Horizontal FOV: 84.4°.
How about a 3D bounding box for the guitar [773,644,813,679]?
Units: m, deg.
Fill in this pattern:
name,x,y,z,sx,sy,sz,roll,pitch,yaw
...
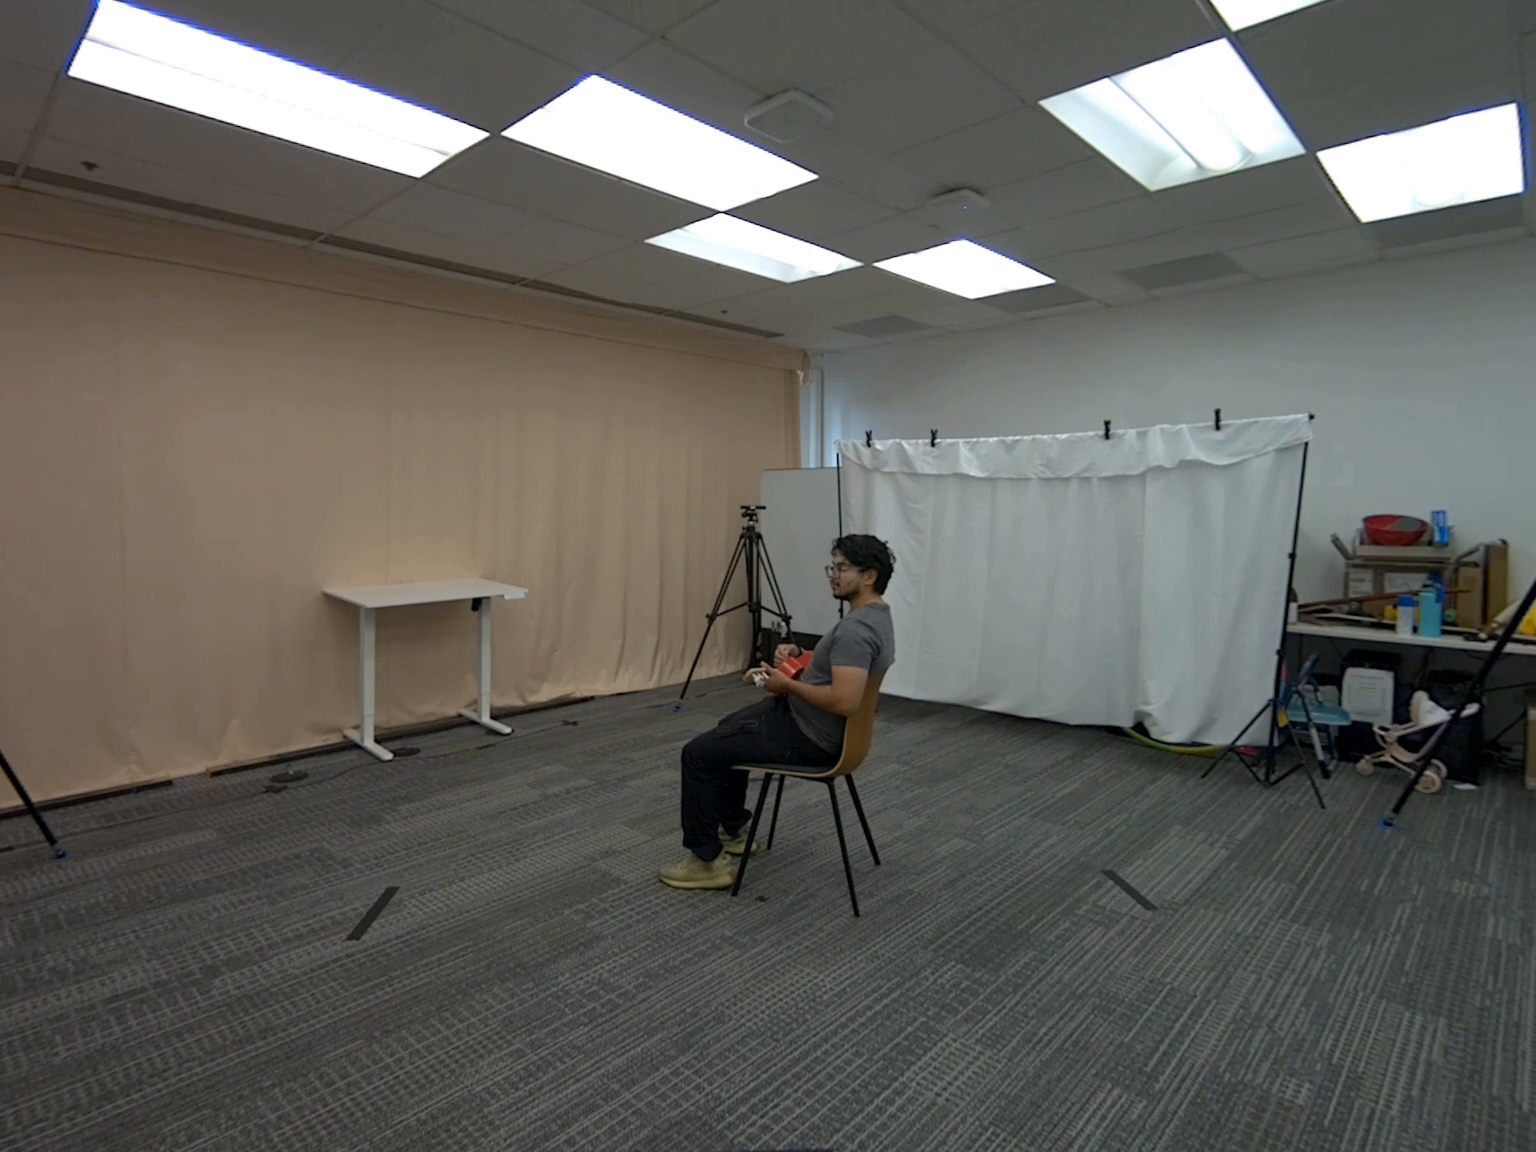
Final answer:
name,x,y,z,sx,sy,sz,roll,pitch,yaw
guitar,0.036,0.389,3.073,0.072,0.193,0.485,42,23,20
